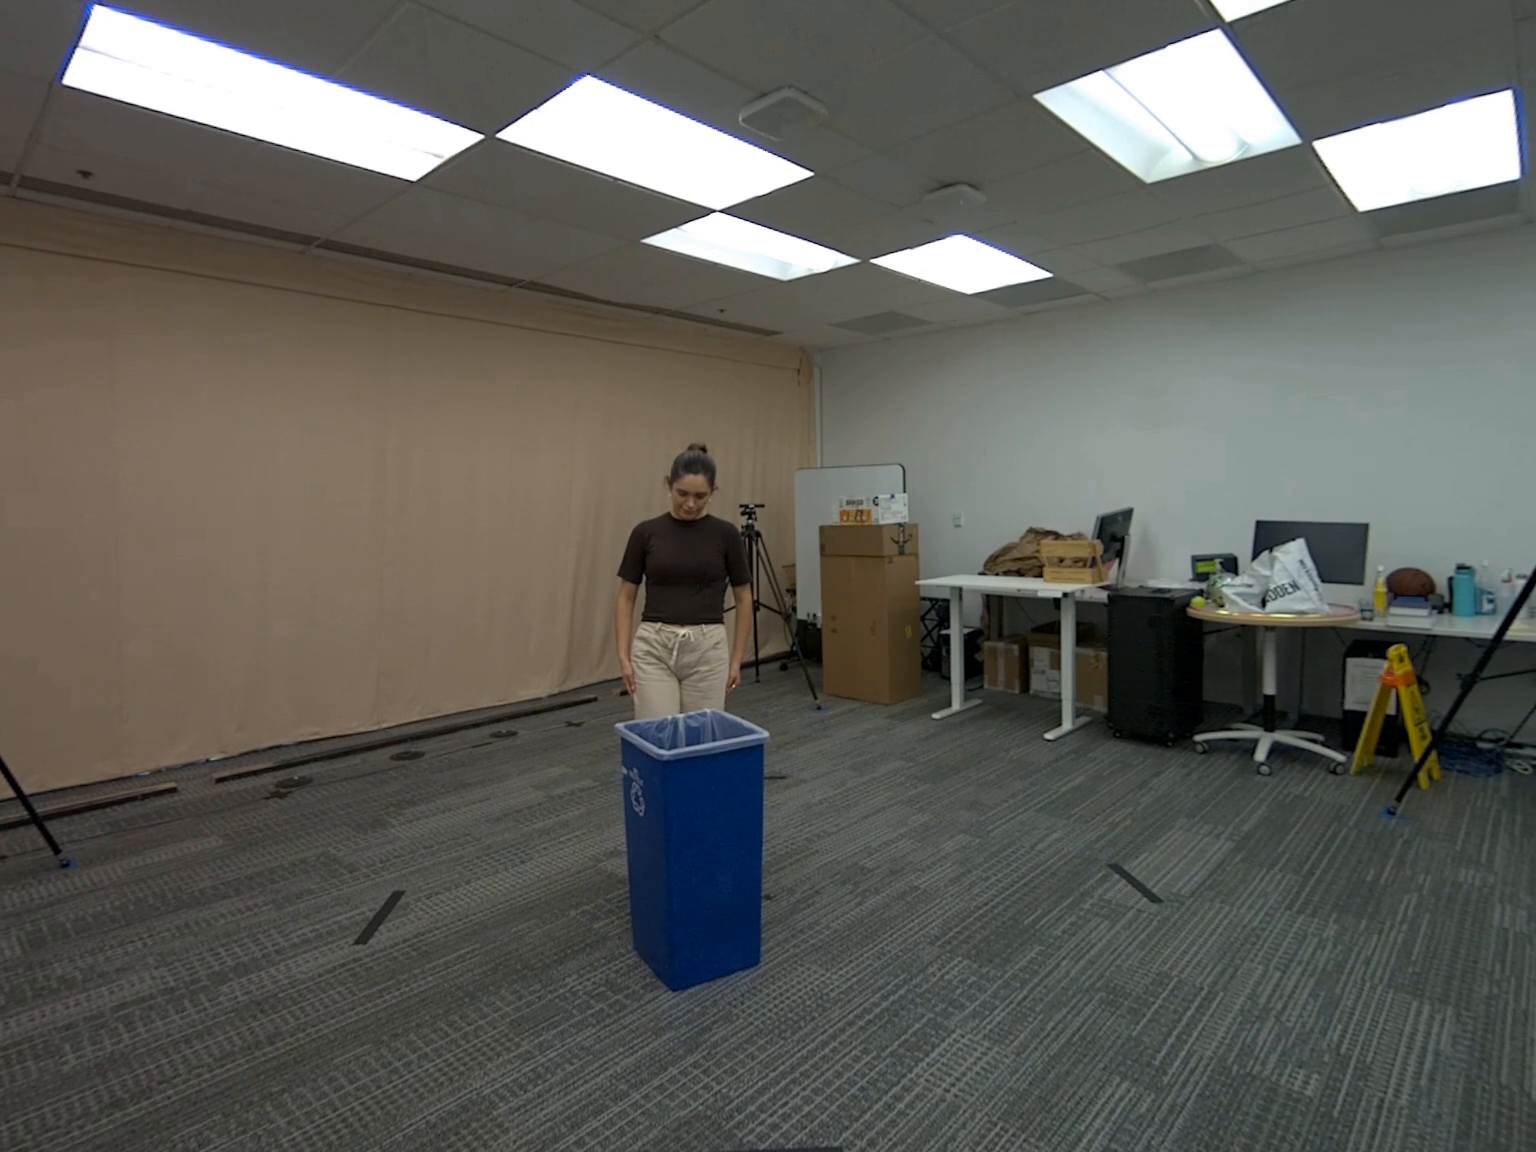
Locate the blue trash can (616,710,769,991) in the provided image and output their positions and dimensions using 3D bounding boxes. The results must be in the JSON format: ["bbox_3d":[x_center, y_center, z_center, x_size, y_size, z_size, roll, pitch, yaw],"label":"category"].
[{"bbox_3d":[-0.230,0.821,2.579,0.364,0.712,0.389,-3,4,-31],"label":"blue trash can"}]
